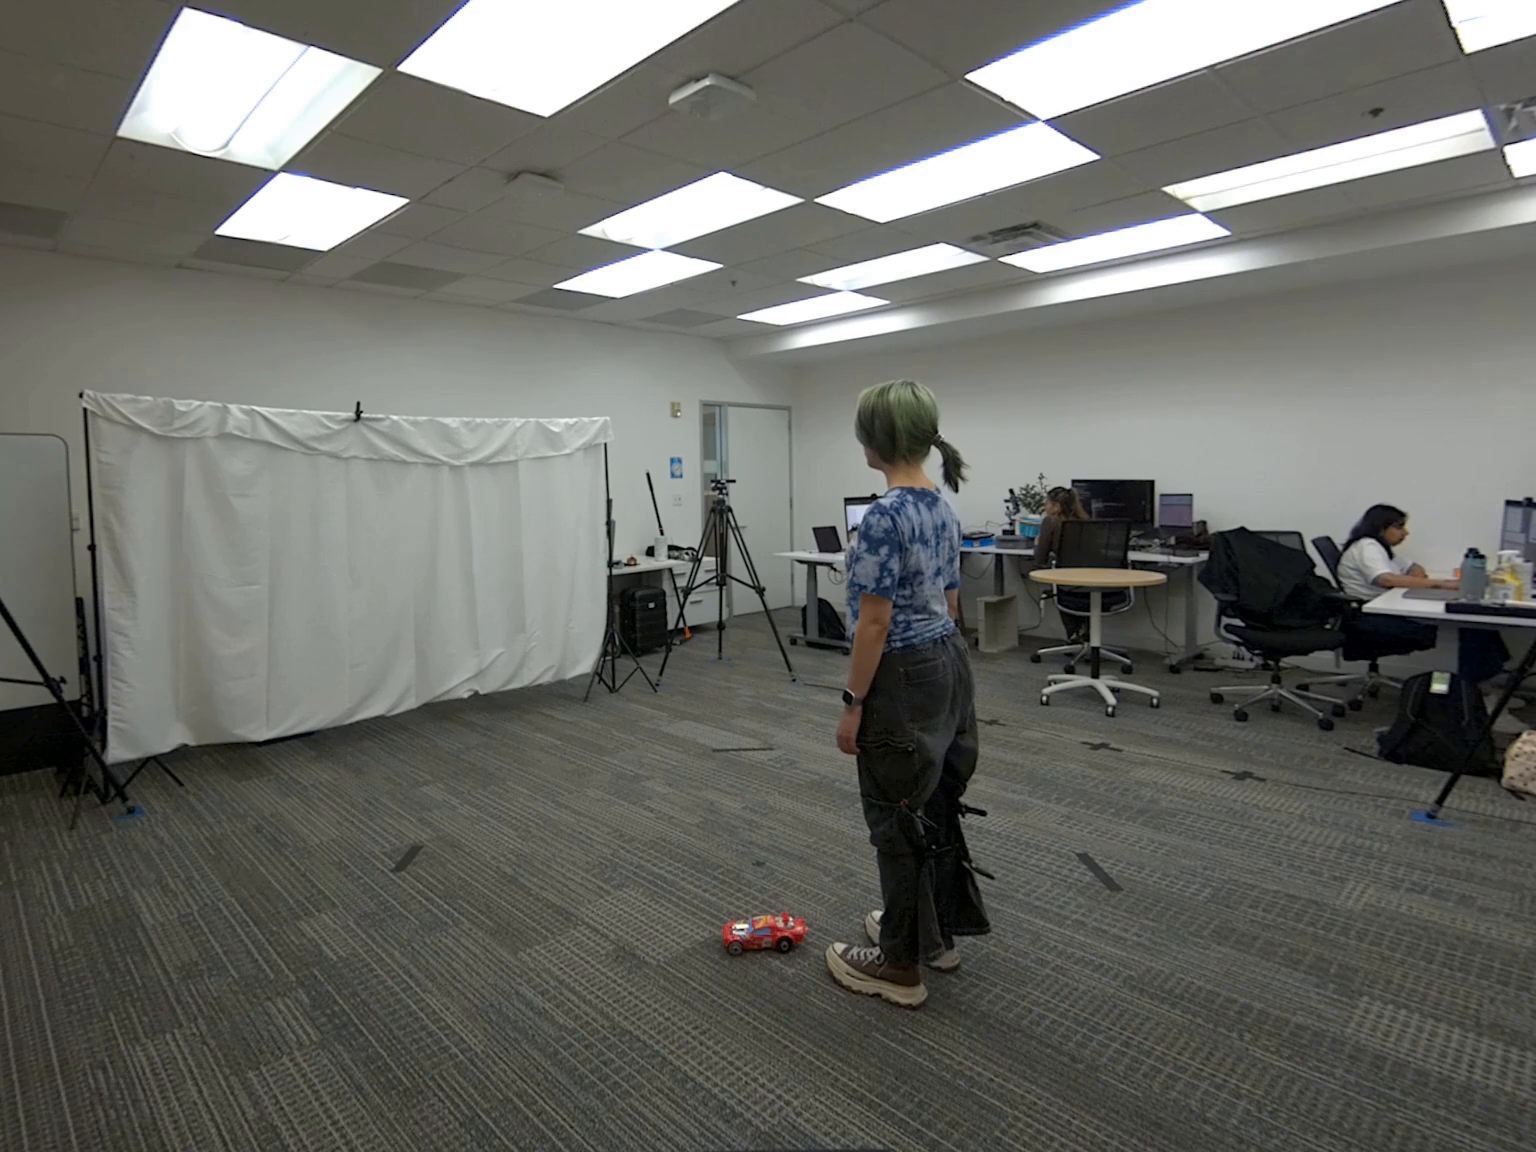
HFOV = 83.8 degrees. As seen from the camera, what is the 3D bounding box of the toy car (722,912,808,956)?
[{"bbox_3d":[-0.002,1.079,2.565,0.254,0.083,0.131,-13,5,-2],"label":"toy car"}]
